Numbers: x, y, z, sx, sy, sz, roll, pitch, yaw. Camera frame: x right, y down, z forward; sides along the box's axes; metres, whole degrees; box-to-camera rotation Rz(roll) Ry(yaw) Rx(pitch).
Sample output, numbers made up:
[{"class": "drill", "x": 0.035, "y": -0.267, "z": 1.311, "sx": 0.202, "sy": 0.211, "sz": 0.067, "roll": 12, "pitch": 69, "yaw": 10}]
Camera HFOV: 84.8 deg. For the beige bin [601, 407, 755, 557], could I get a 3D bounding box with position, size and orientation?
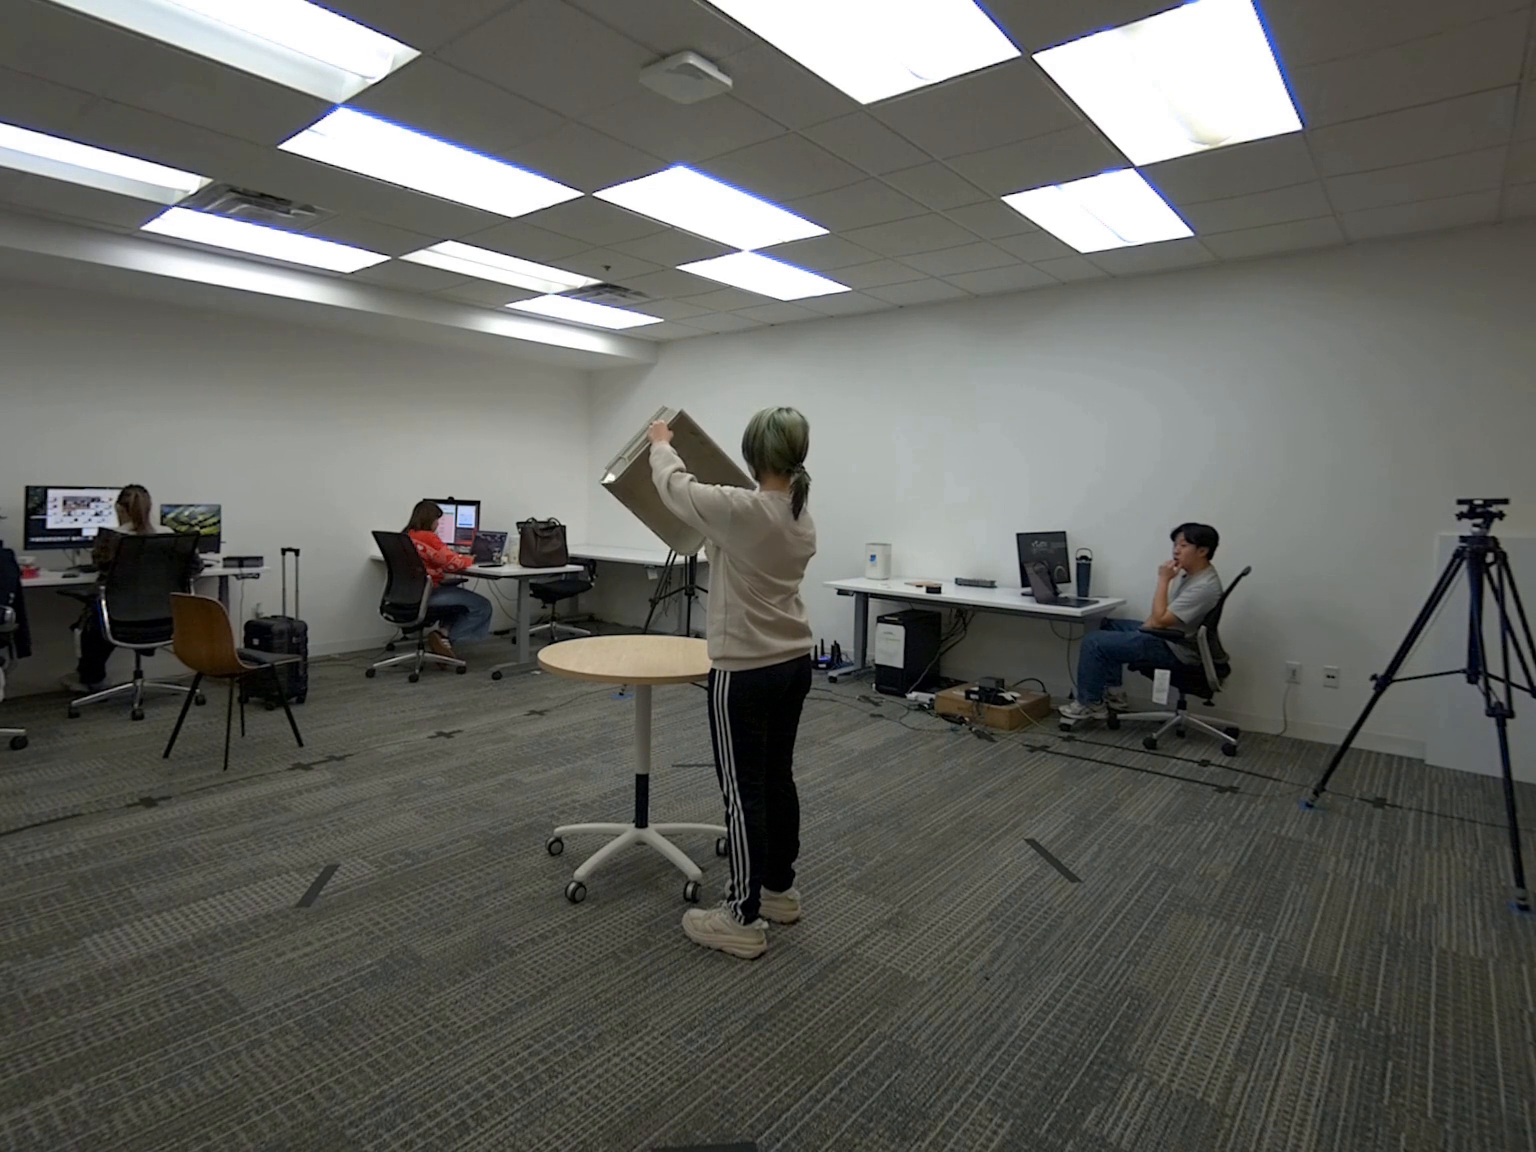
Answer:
[{"class": "beige bin", "x": -0.338, "y": -0.333, "z": 3.056, "sx": 0.408, "sy": 0.377, "sz": 0.195, "roll": 44, "pitch": -5, "yaw": -28}]
